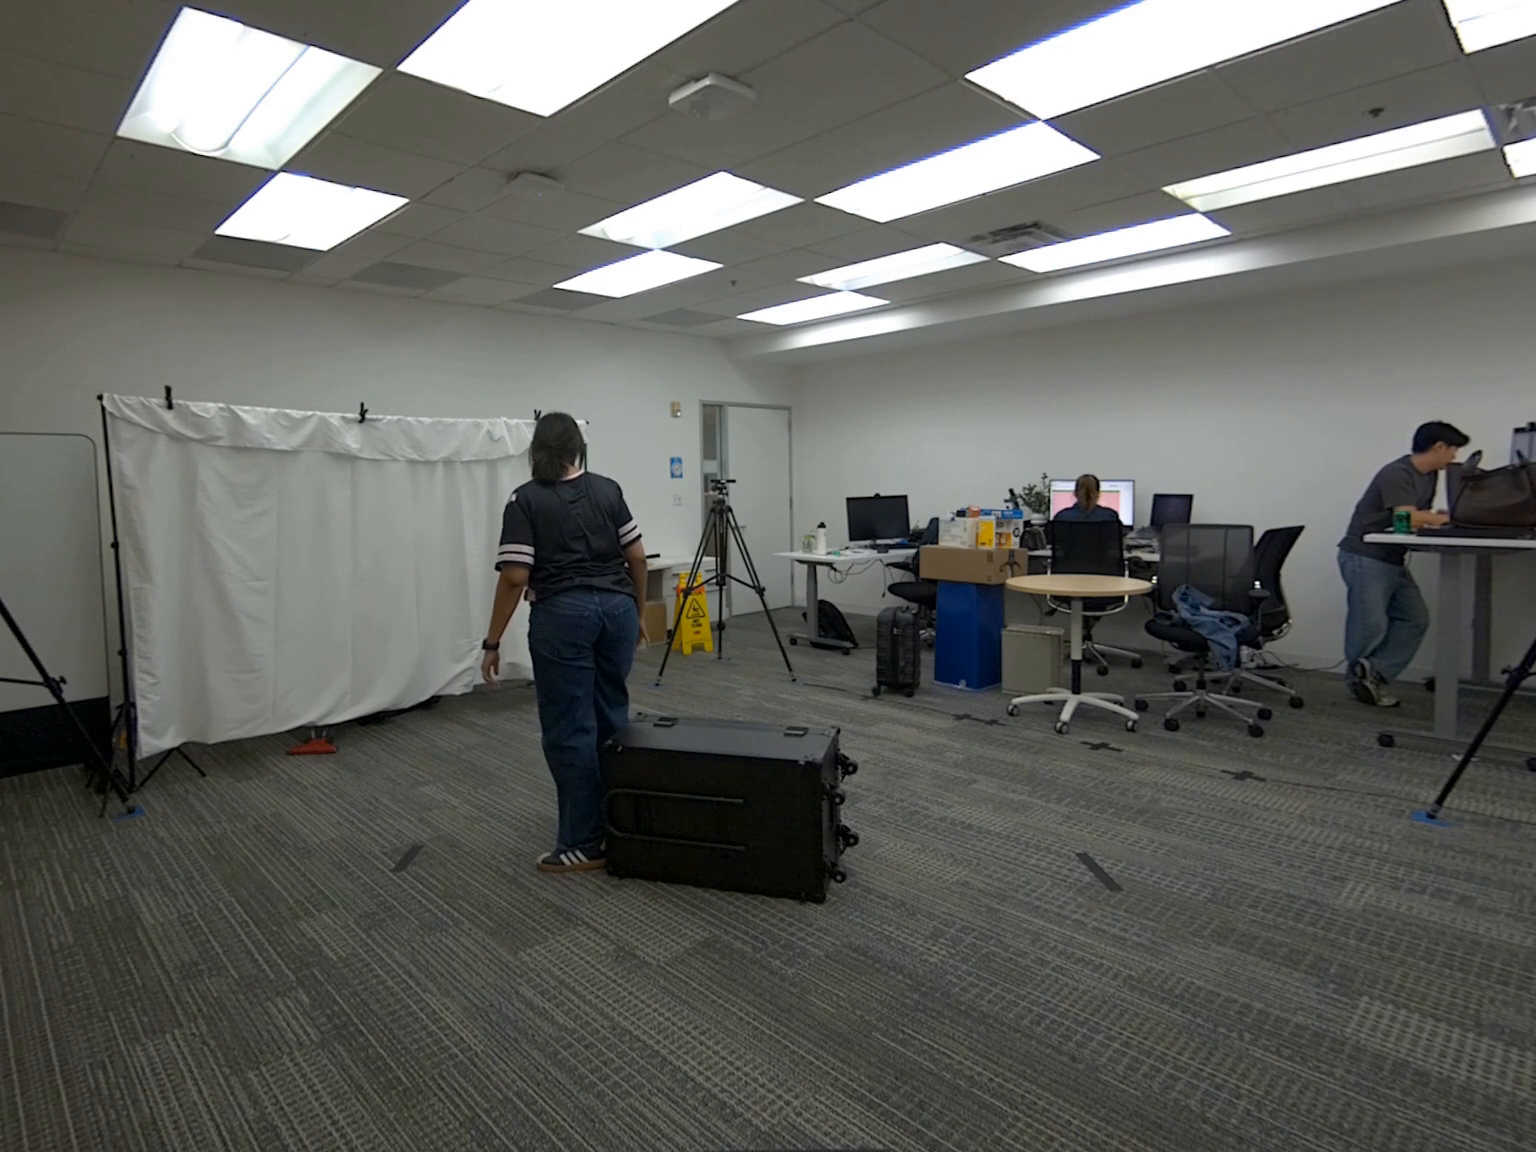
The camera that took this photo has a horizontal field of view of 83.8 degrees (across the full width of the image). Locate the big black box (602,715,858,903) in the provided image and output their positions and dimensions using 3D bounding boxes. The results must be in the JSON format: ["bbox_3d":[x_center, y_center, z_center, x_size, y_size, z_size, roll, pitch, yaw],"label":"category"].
[{"bbox_3d":[-0.122,0.796,3.043,0.883,0.521,0.381,0,5,17],"label":"big black box"}]
